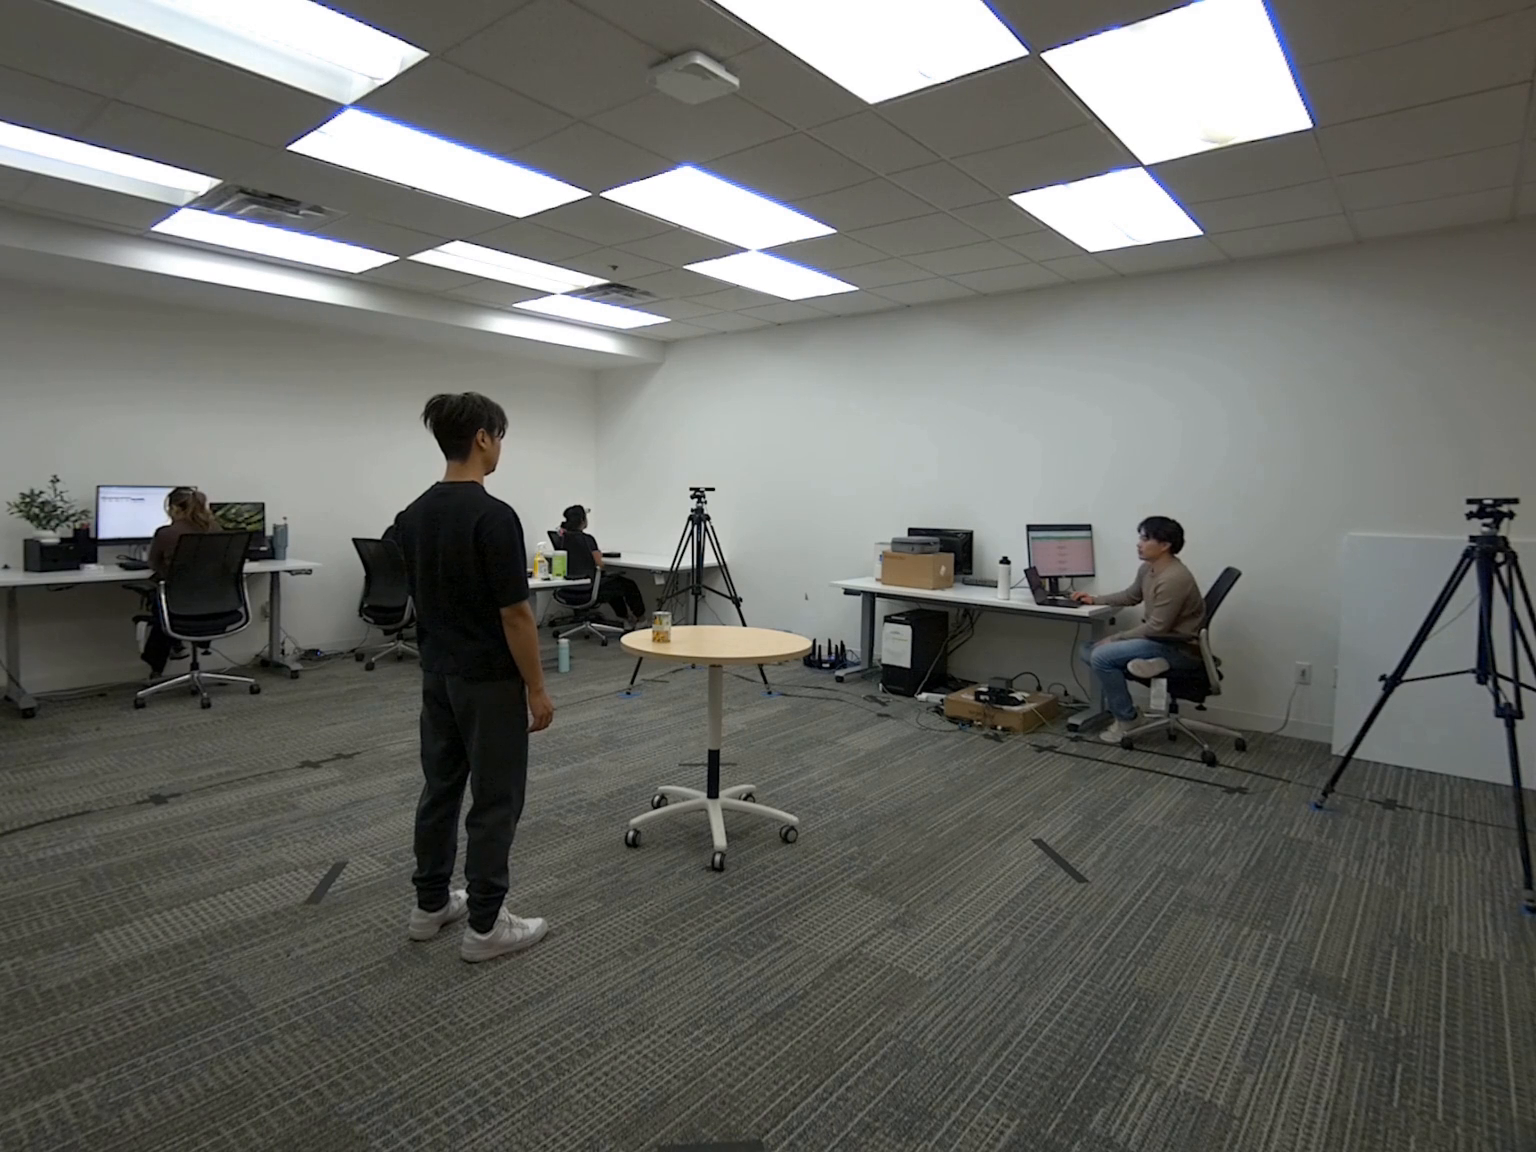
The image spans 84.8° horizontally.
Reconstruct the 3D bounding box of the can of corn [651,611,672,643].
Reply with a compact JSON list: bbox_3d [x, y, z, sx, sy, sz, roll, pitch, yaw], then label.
[{"bbox_3d":[-0.431,0.200,3.354,0.074,0.111,0.074,2,3,-2],"label":"can of corn"}]
